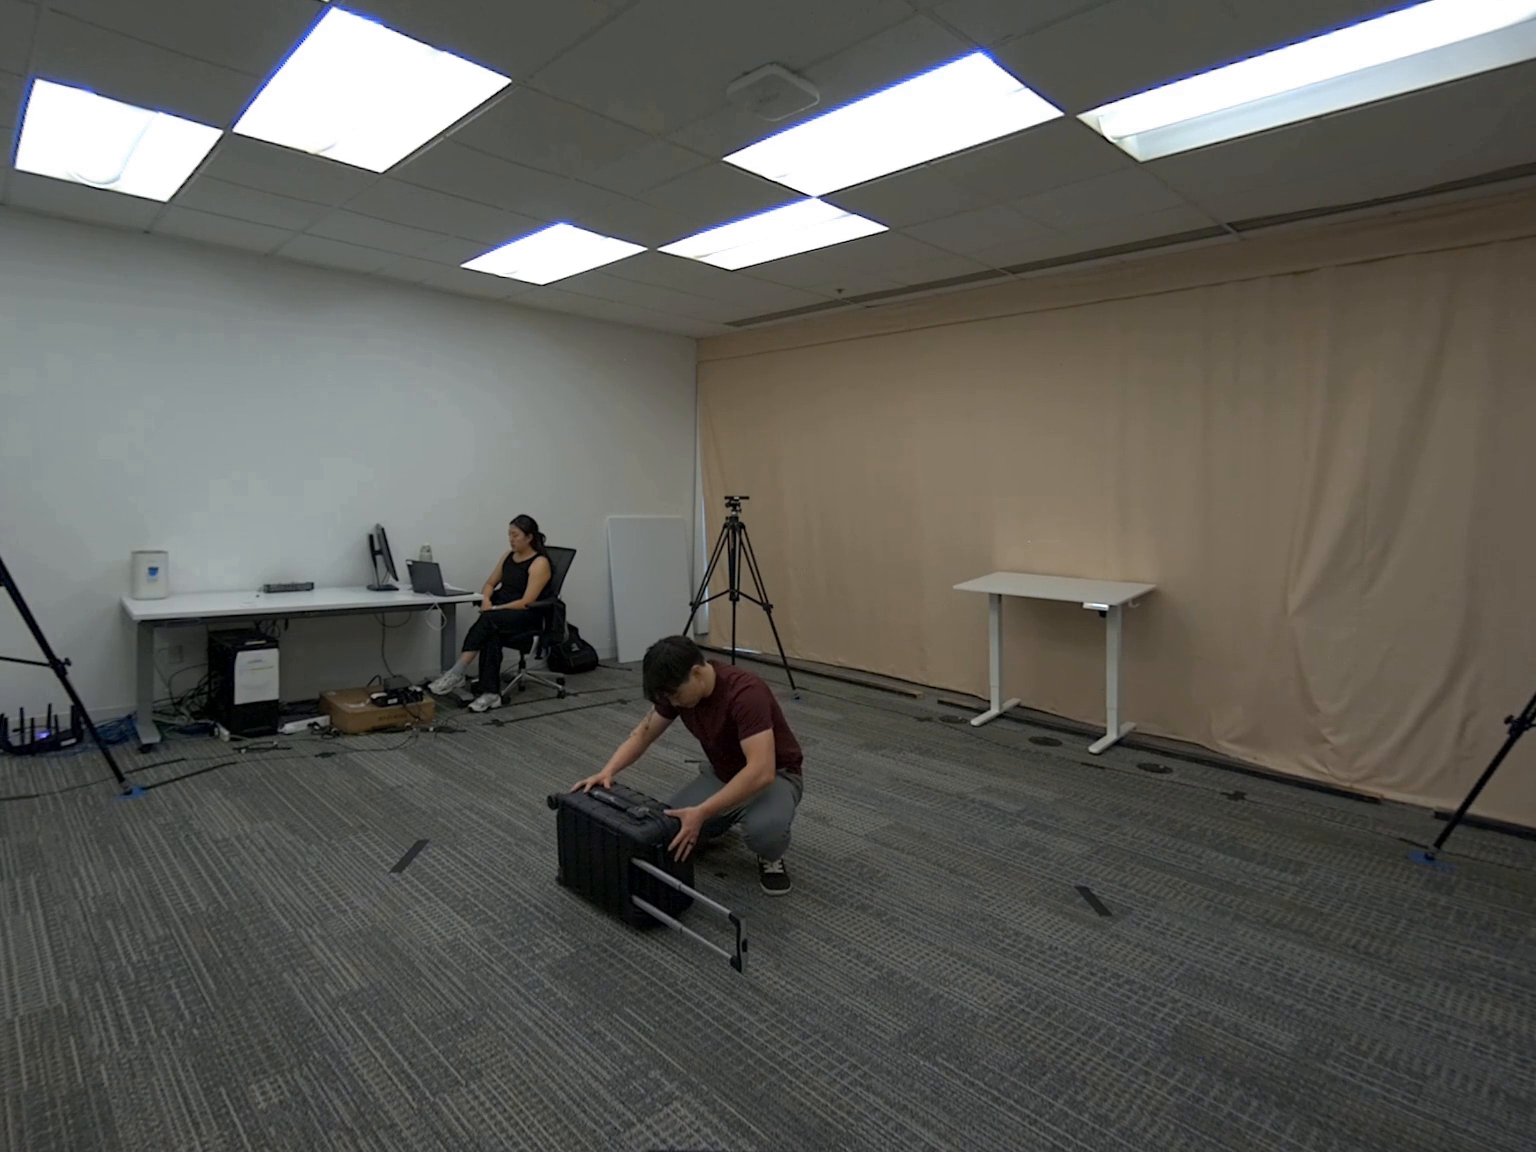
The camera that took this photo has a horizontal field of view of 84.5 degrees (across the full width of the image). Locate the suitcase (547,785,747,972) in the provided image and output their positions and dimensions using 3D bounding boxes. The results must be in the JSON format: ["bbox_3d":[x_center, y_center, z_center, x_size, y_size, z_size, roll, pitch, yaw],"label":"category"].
[{"bbox_3d":[-0.357,0.942,2.712,0.251,0.382,1.003,-6,8,-44],"label":"suitcase"}]
